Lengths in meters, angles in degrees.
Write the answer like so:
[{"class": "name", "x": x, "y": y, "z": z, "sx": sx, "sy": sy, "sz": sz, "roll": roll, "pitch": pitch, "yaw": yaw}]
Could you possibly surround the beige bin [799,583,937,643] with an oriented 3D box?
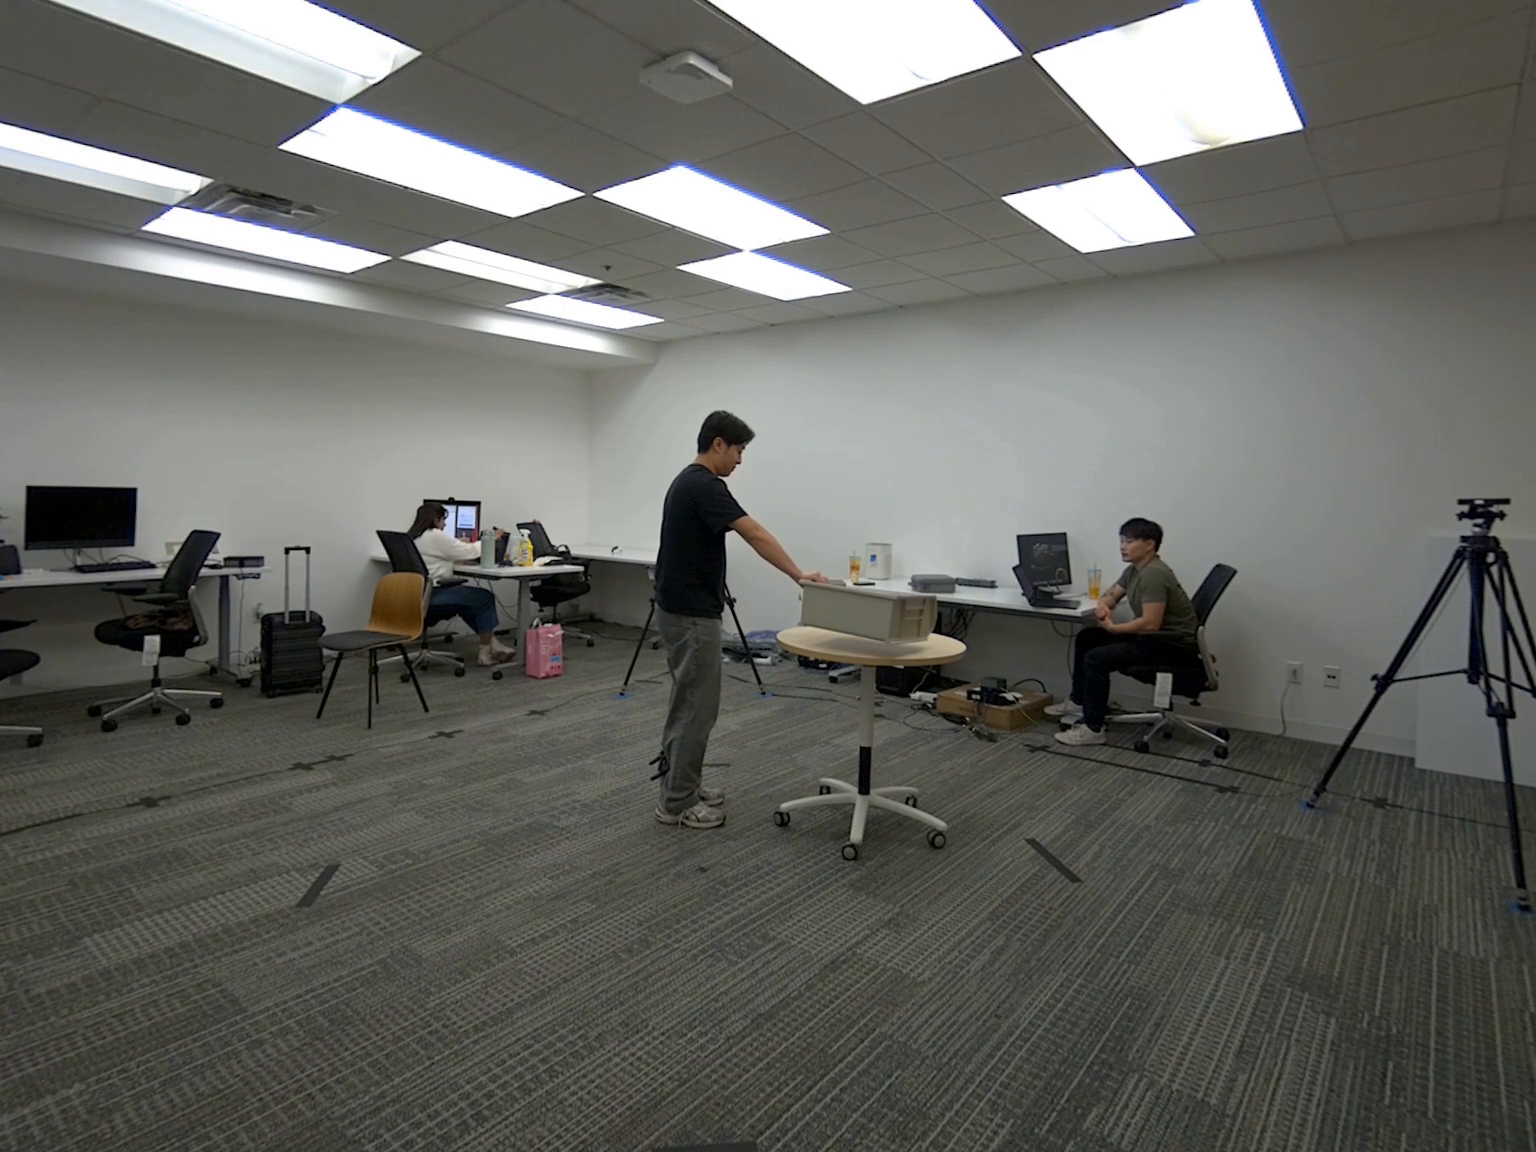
[{"class": "beige bin", "x": 0.380, "y": 0.131, "z": 3.340, "sx": 0.437, "sy": 0.188, "sz": 0.365, "roll": 9, "pitch": 6, "yaw": 37}]
